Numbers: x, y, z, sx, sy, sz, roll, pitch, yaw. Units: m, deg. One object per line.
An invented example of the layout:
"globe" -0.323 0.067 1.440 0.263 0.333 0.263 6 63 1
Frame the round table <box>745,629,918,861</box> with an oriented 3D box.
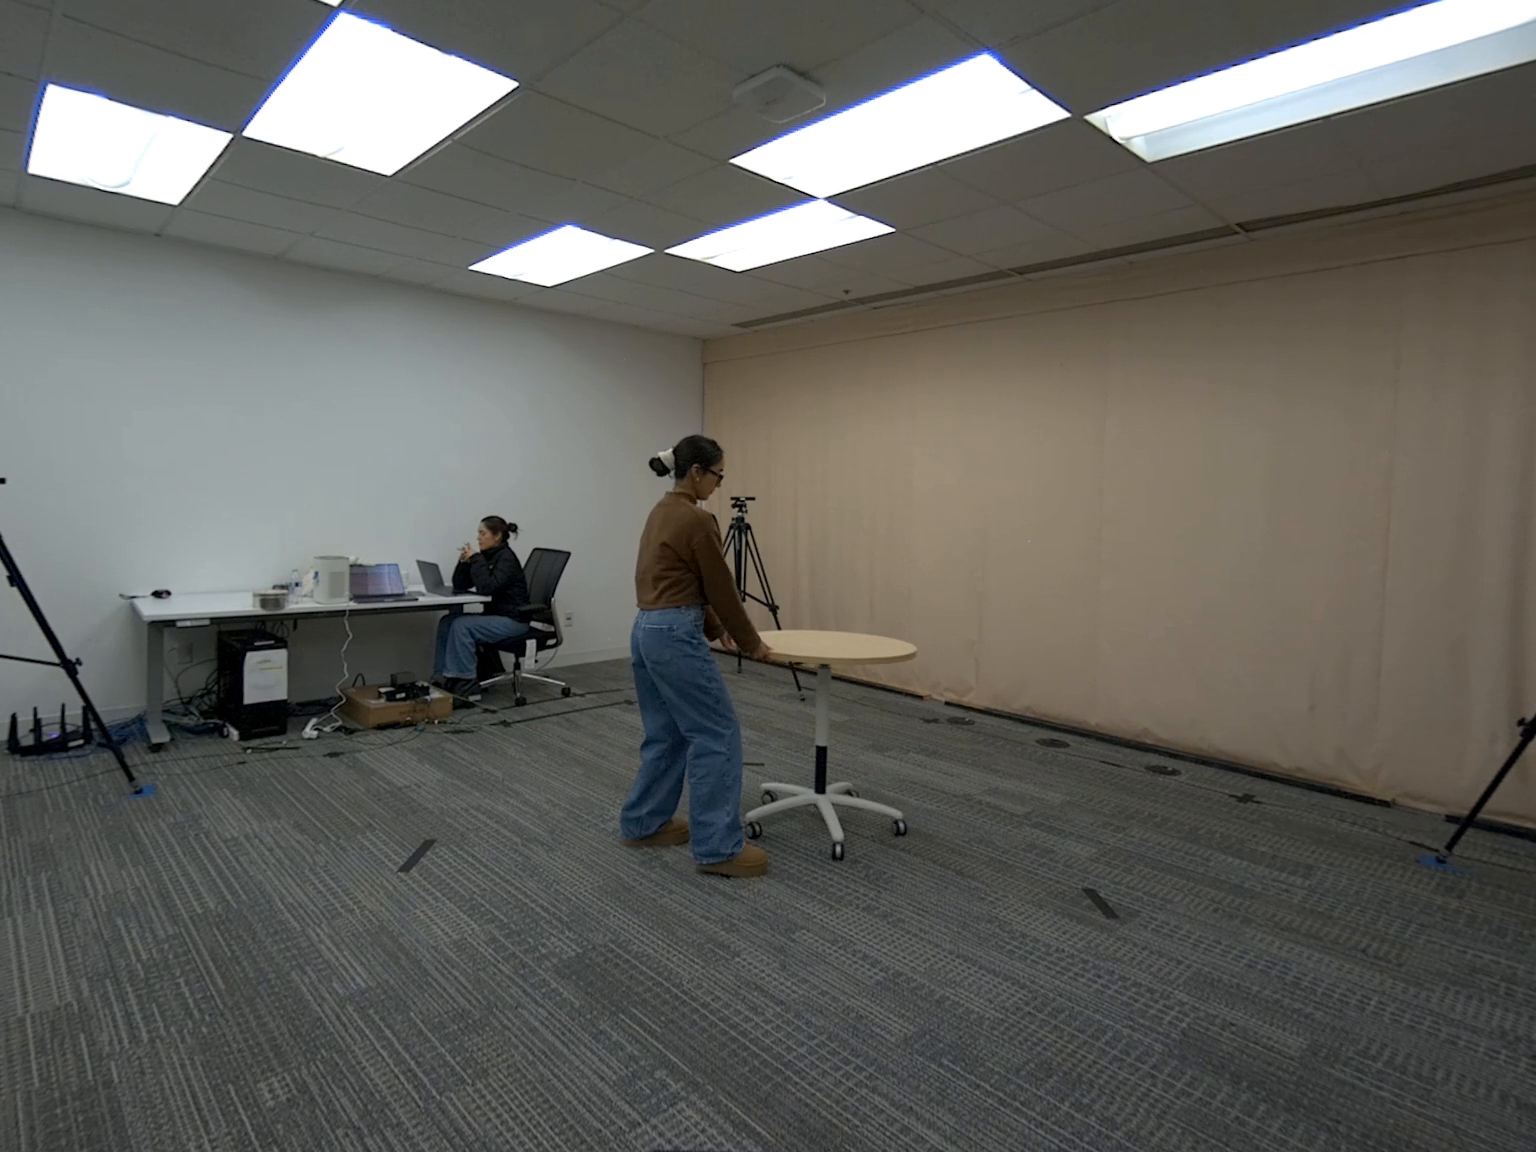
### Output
"round table" 0.214 0.677 3.578 0.784 0.785 0.787 2 3 -1
